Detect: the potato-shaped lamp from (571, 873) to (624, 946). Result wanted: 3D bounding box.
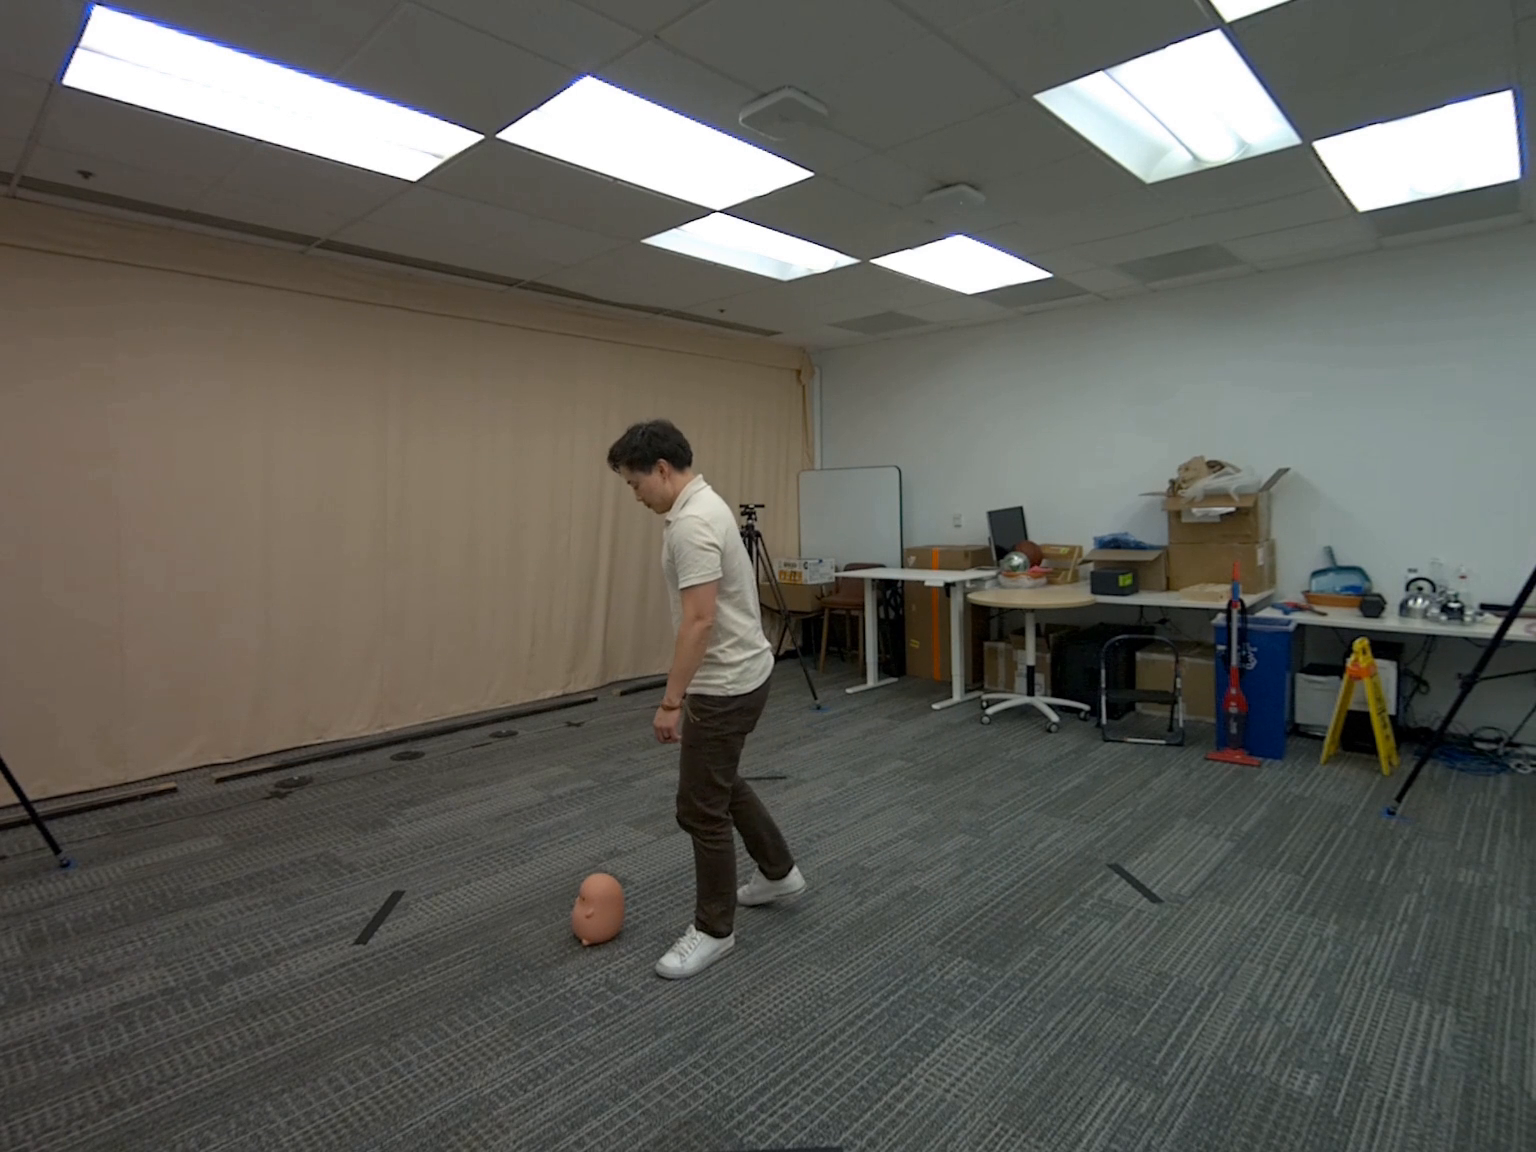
[{"bbox_3d":[-0.554,1.077,2.733,0.167,0.198,0.169,-2,3,-29],"label":"potato-shaped lamp"}]
